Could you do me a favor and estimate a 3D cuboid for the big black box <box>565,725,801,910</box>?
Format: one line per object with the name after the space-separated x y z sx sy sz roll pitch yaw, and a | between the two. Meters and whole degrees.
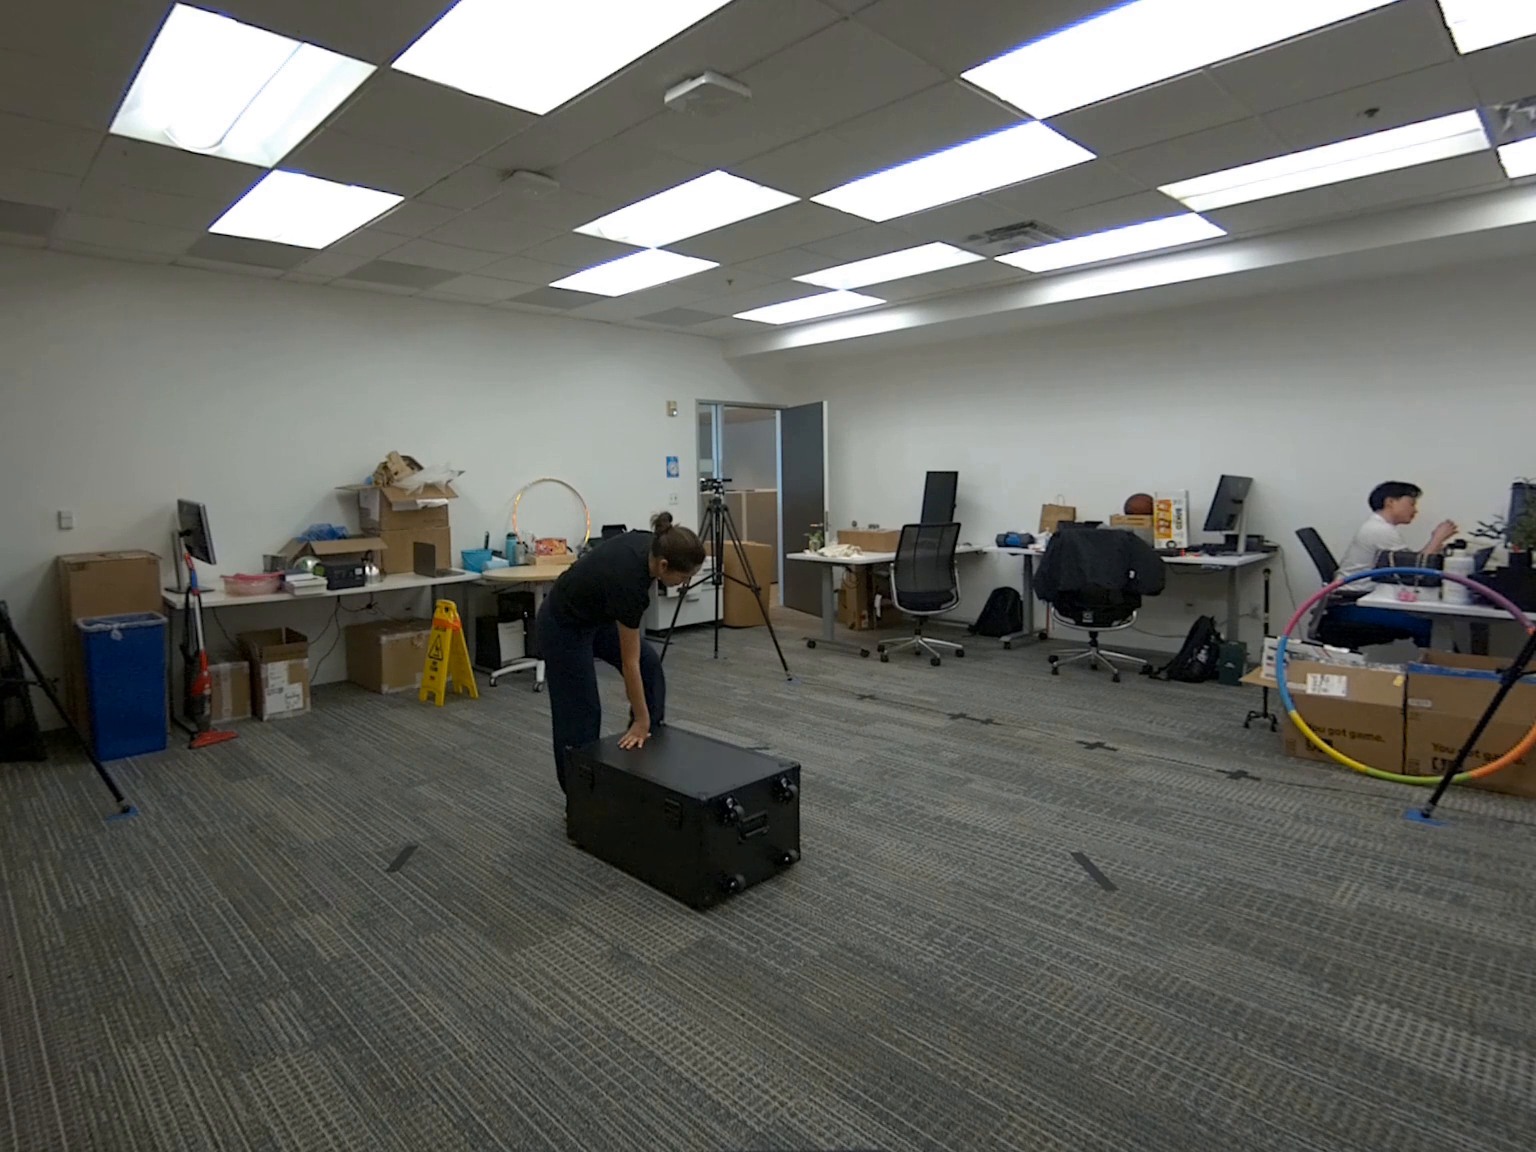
-0.302 0.840 3.159 0.888 0.395 0.507 5 8 44 | big black box
